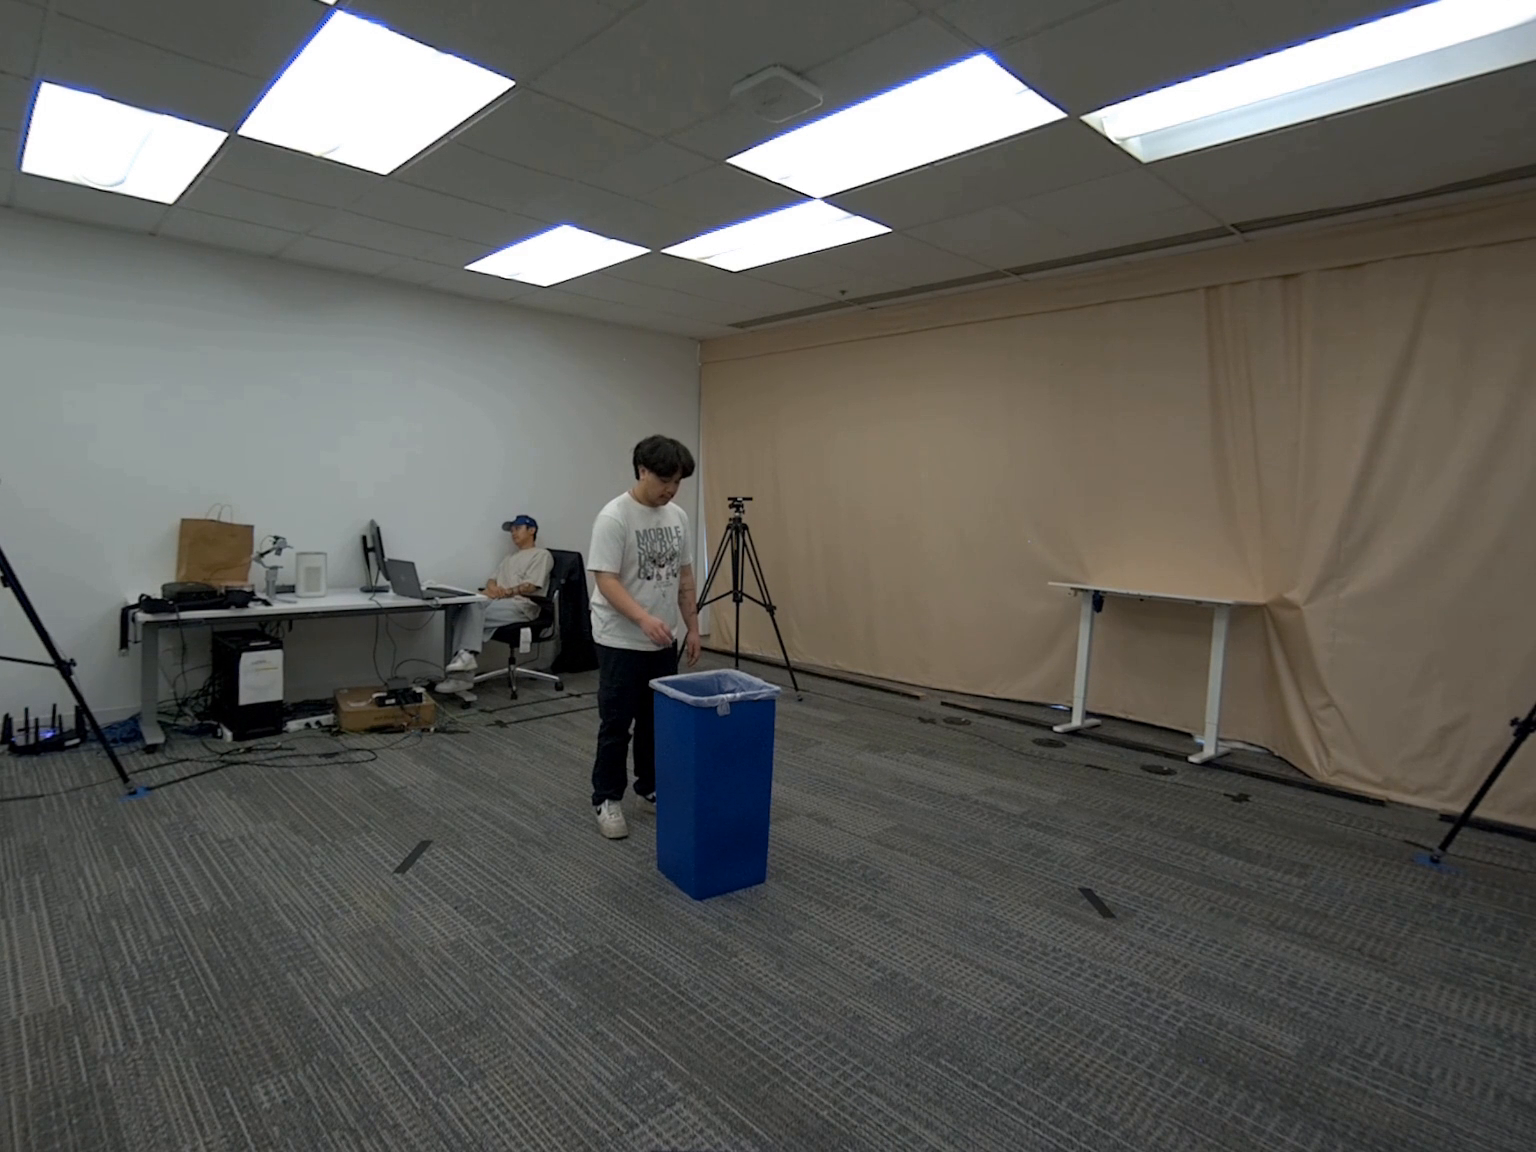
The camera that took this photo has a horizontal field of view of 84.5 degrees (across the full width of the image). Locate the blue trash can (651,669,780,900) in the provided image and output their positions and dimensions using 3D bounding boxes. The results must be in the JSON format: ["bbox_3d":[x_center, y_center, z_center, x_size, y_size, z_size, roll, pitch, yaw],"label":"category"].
[{"bbox_3d":[-0.216,0.748,3.094,0.370,0.712,0.383,-1,4,-34],"label":"blue trash can"}]
